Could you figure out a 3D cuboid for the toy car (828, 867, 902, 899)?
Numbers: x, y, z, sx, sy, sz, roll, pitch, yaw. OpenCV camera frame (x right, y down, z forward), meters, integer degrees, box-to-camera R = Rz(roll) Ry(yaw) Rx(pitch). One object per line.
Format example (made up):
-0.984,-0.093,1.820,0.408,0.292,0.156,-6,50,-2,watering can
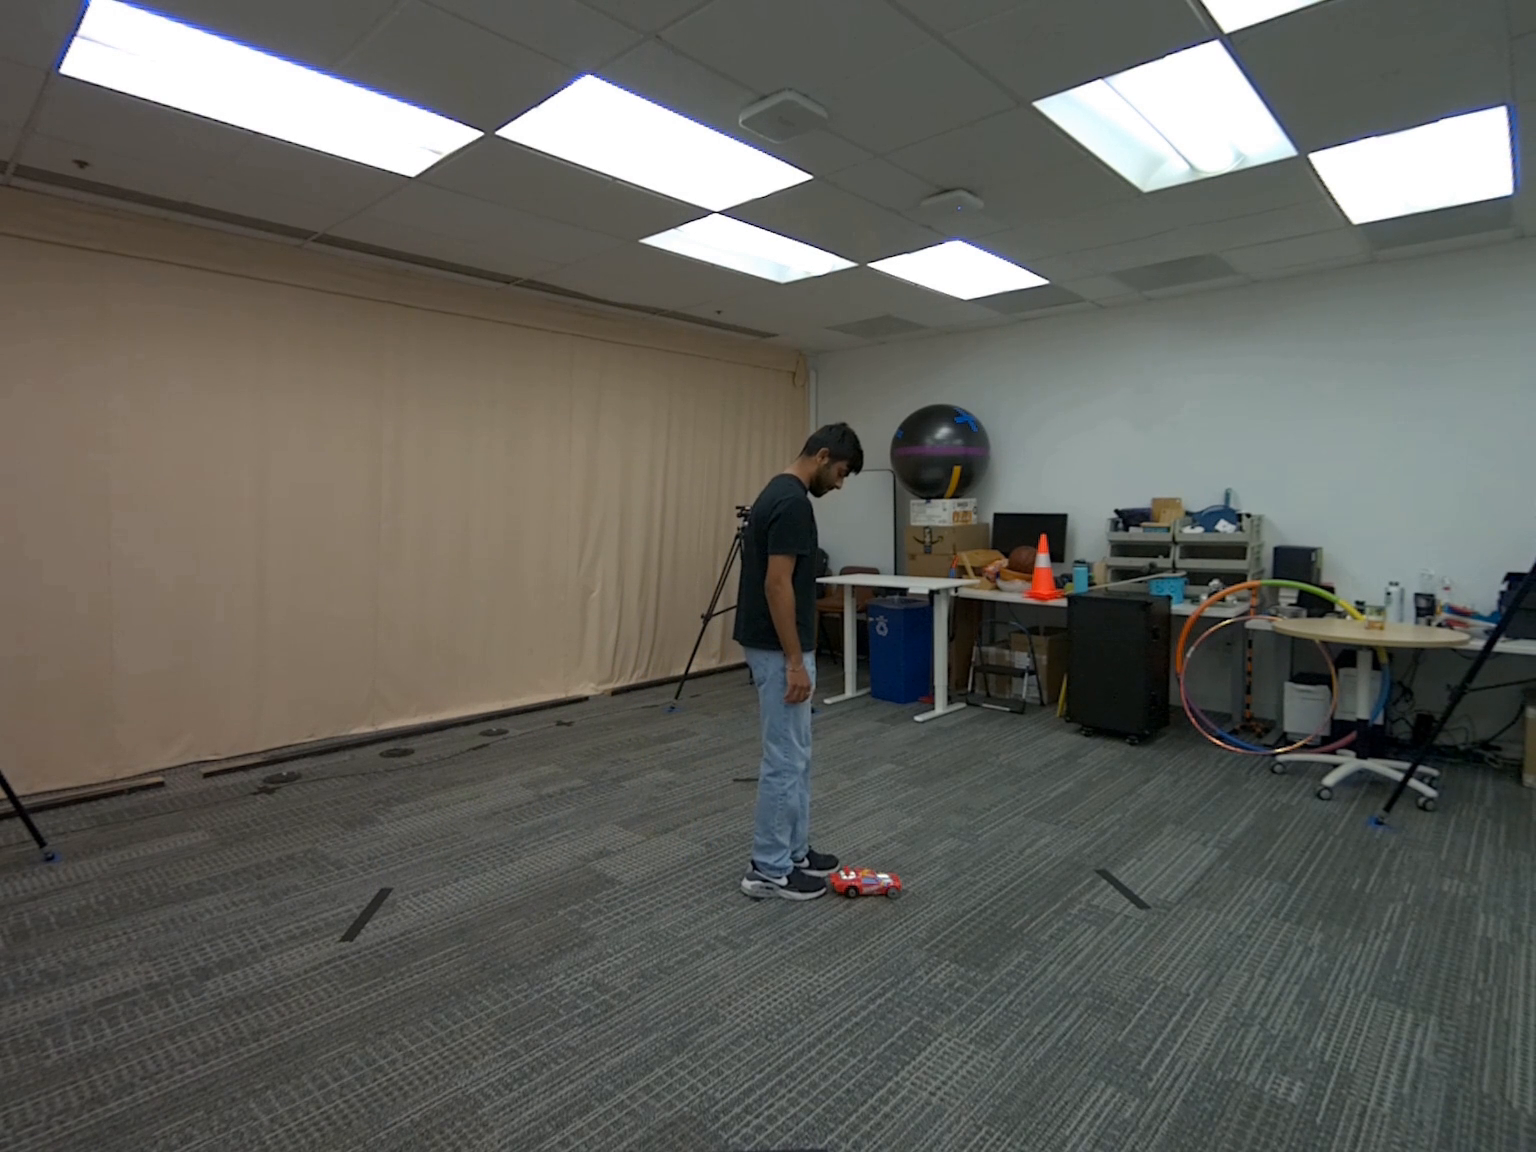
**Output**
0.350,1.106,3.026,0.254,0.083,0.131,11,4,-3,toy car
